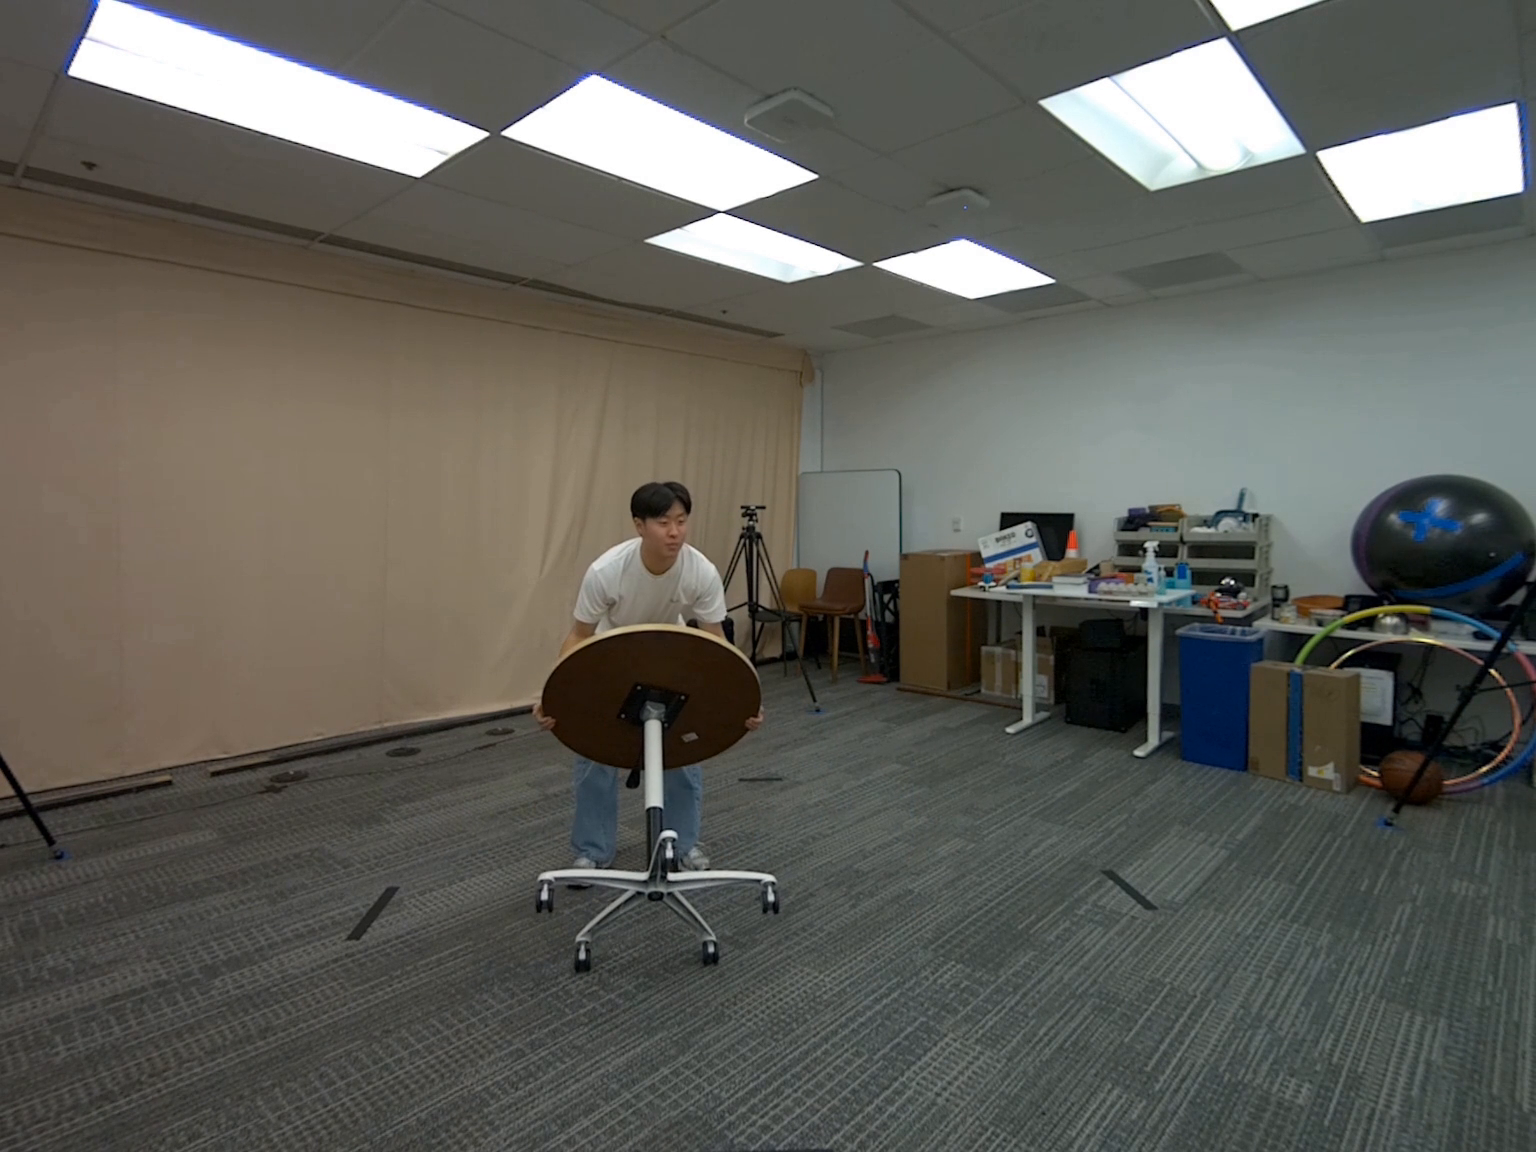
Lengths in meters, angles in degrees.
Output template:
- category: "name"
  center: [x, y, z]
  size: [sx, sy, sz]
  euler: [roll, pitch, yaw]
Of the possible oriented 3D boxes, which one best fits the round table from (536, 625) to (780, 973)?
- category: "round table"
  center: [-0.339, 0.702, 2.653]
  size: [0.779, 0.773, 0.805]
  euler: [-1, 42, -8]
